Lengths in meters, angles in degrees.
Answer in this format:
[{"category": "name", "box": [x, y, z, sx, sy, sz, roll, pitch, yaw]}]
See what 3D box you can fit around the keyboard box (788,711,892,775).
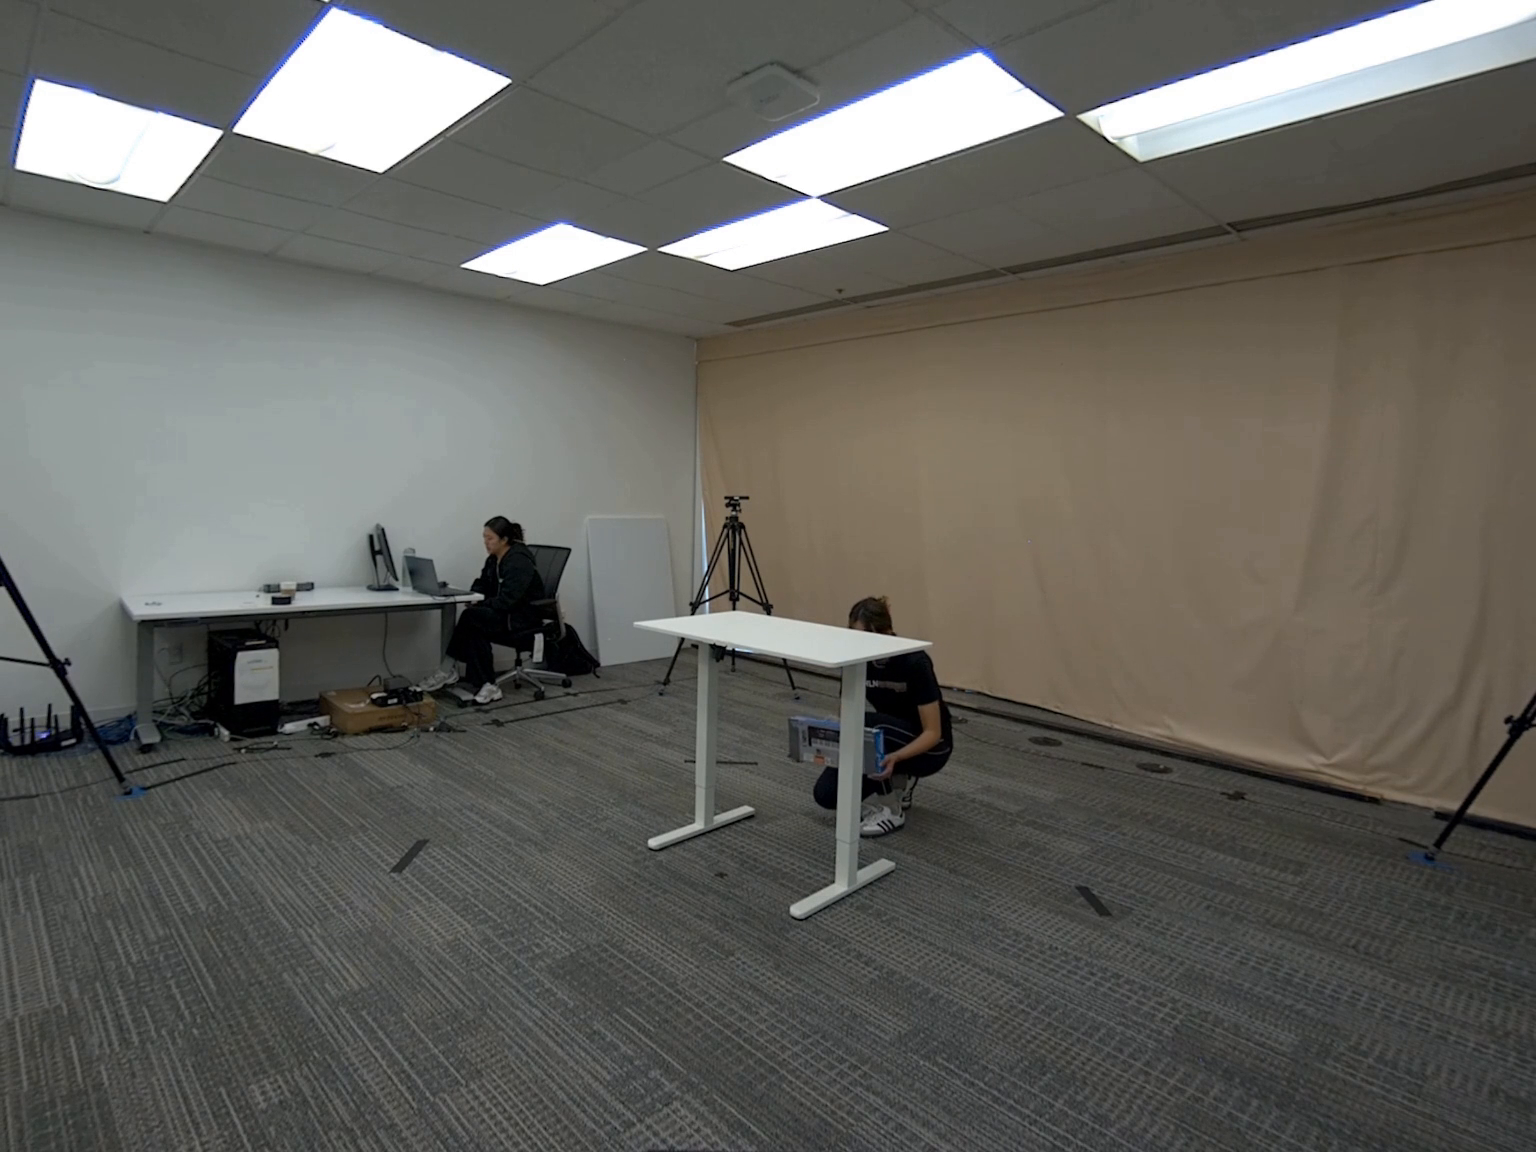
[{"category": "keyboard box", "box": [0.261, 0.689, 3.427, 0.447, 0.176, 0.058, 1, 3, 42]}]
